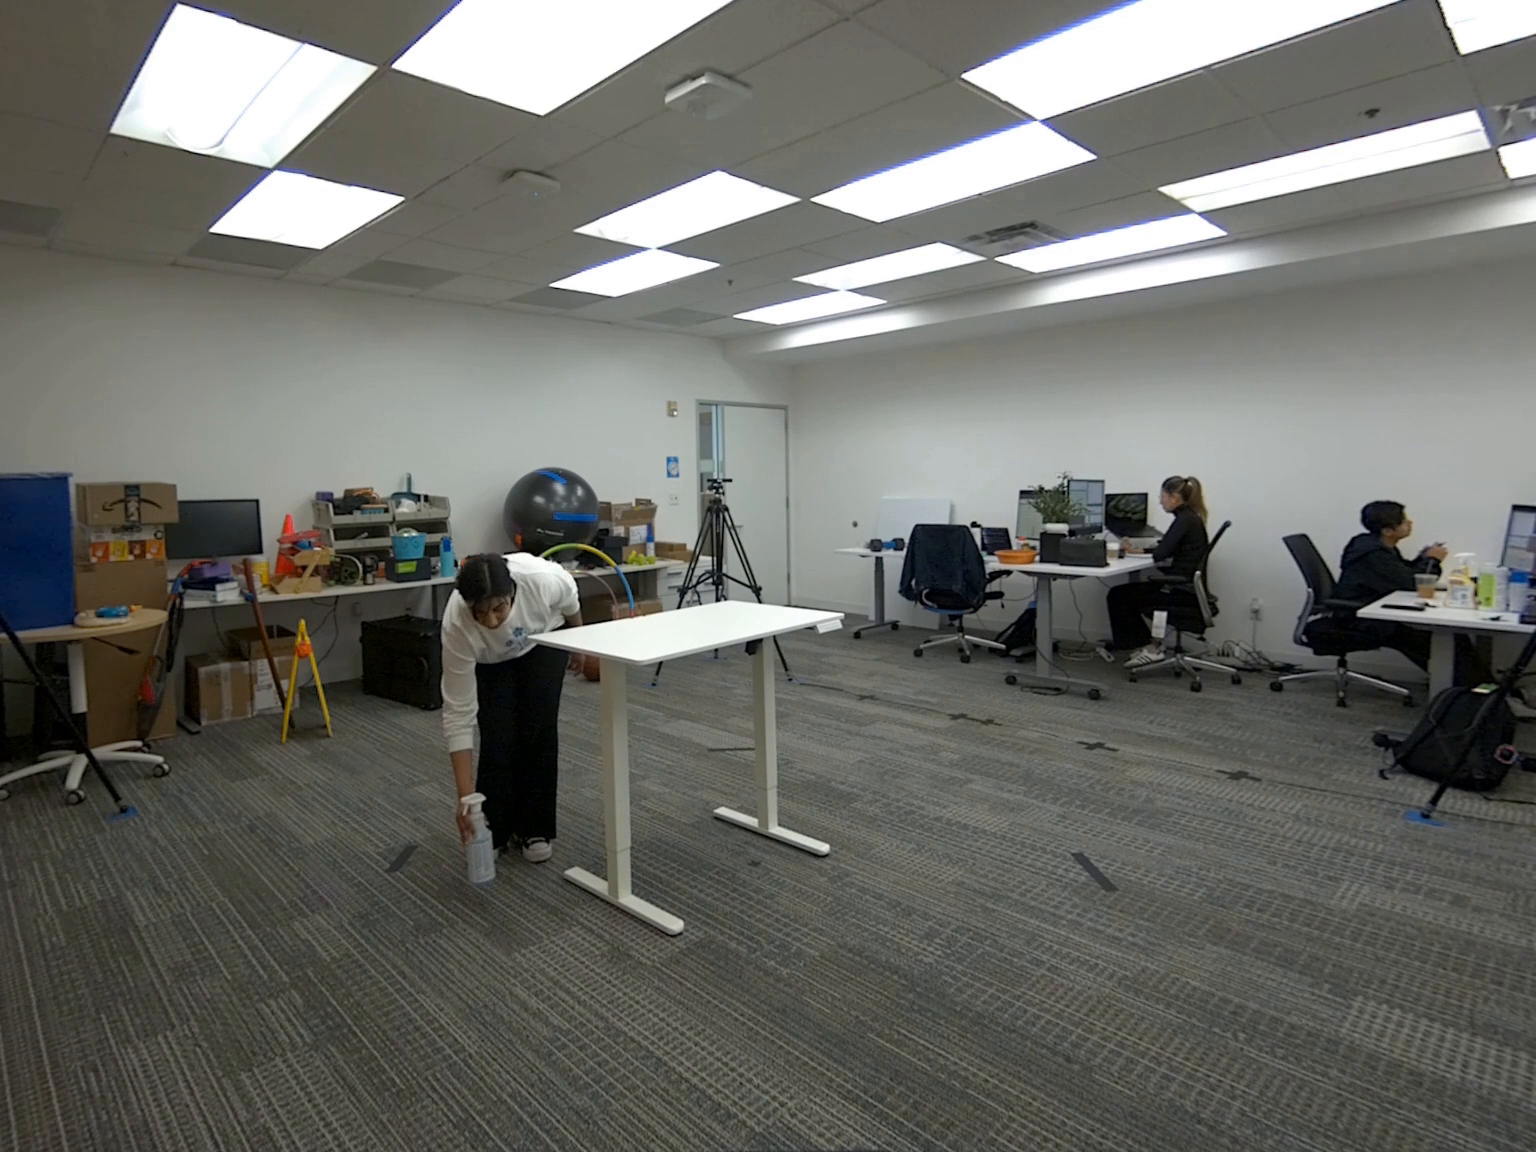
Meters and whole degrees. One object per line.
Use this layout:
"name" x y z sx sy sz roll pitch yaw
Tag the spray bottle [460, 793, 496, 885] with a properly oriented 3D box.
"spray bottle" -0.960 0.858 2.824 0.088 0.295 0.089 -9 7 -28
